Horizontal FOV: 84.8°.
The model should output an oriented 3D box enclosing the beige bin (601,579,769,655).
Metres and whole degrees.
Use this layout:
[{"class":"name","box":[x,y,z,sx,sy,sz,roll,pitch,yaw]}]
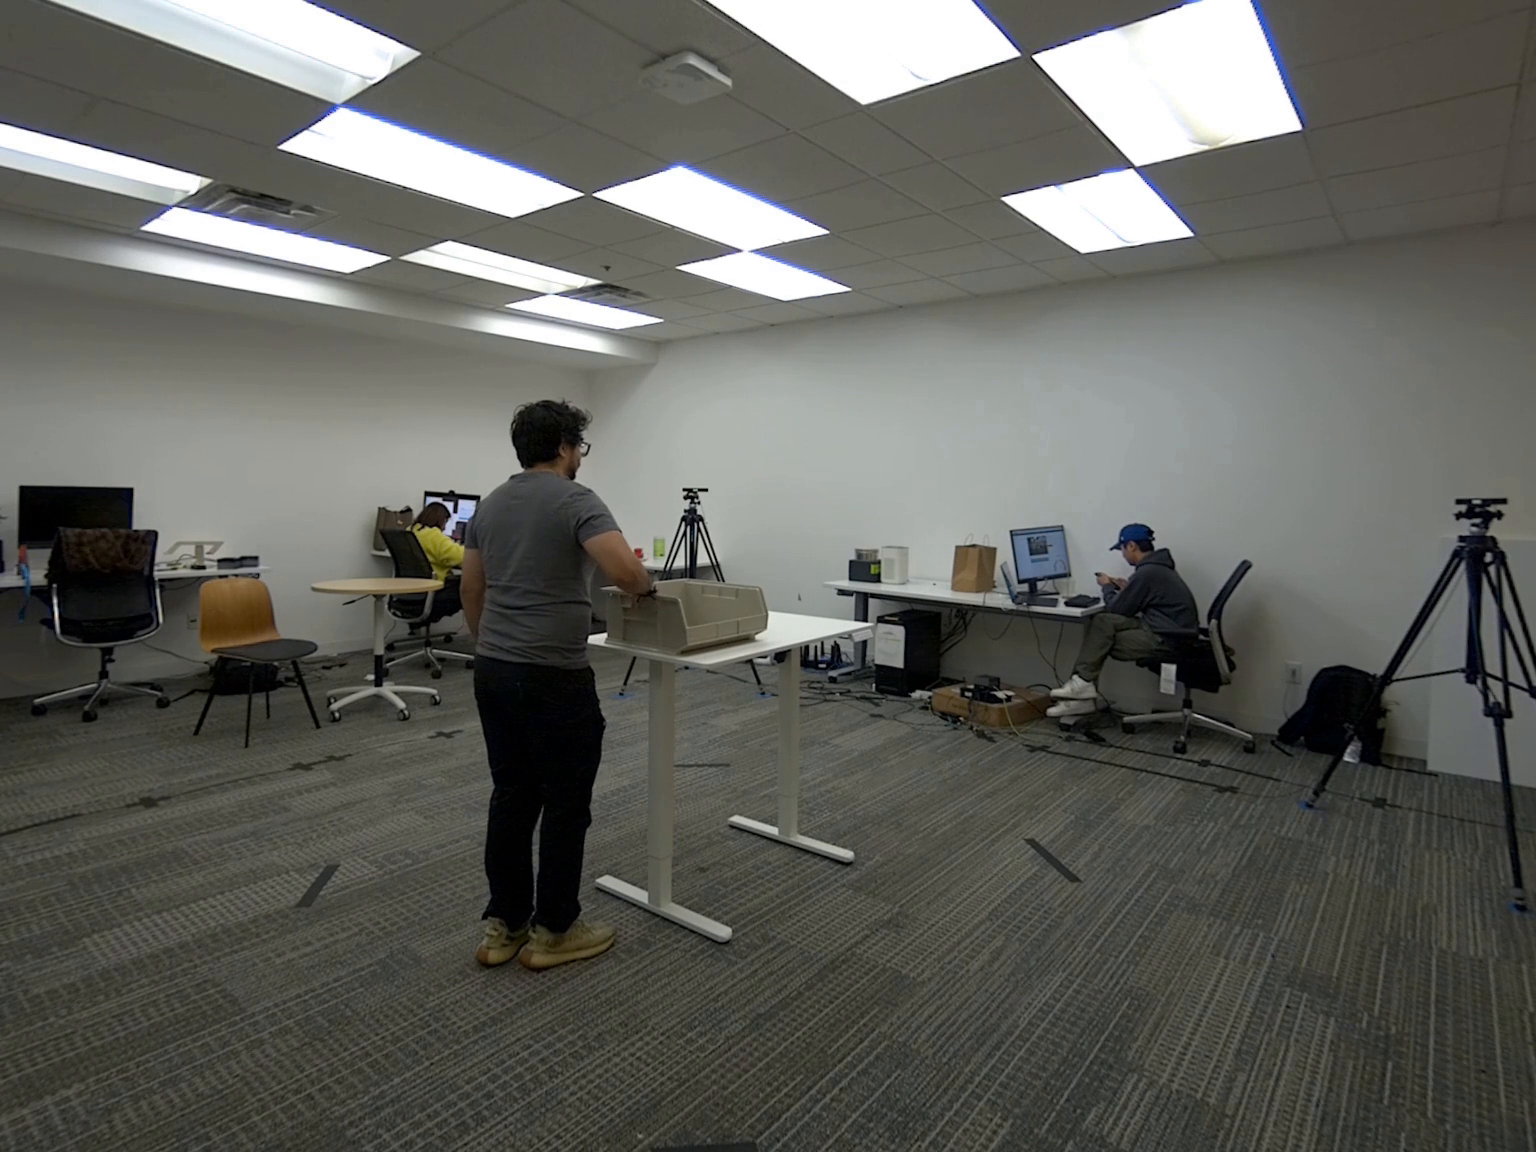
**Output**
[{"class":"beige bin","box":[-0.280,0.128,2.813,0.389,0.188,0.410,3,6,38]}]
